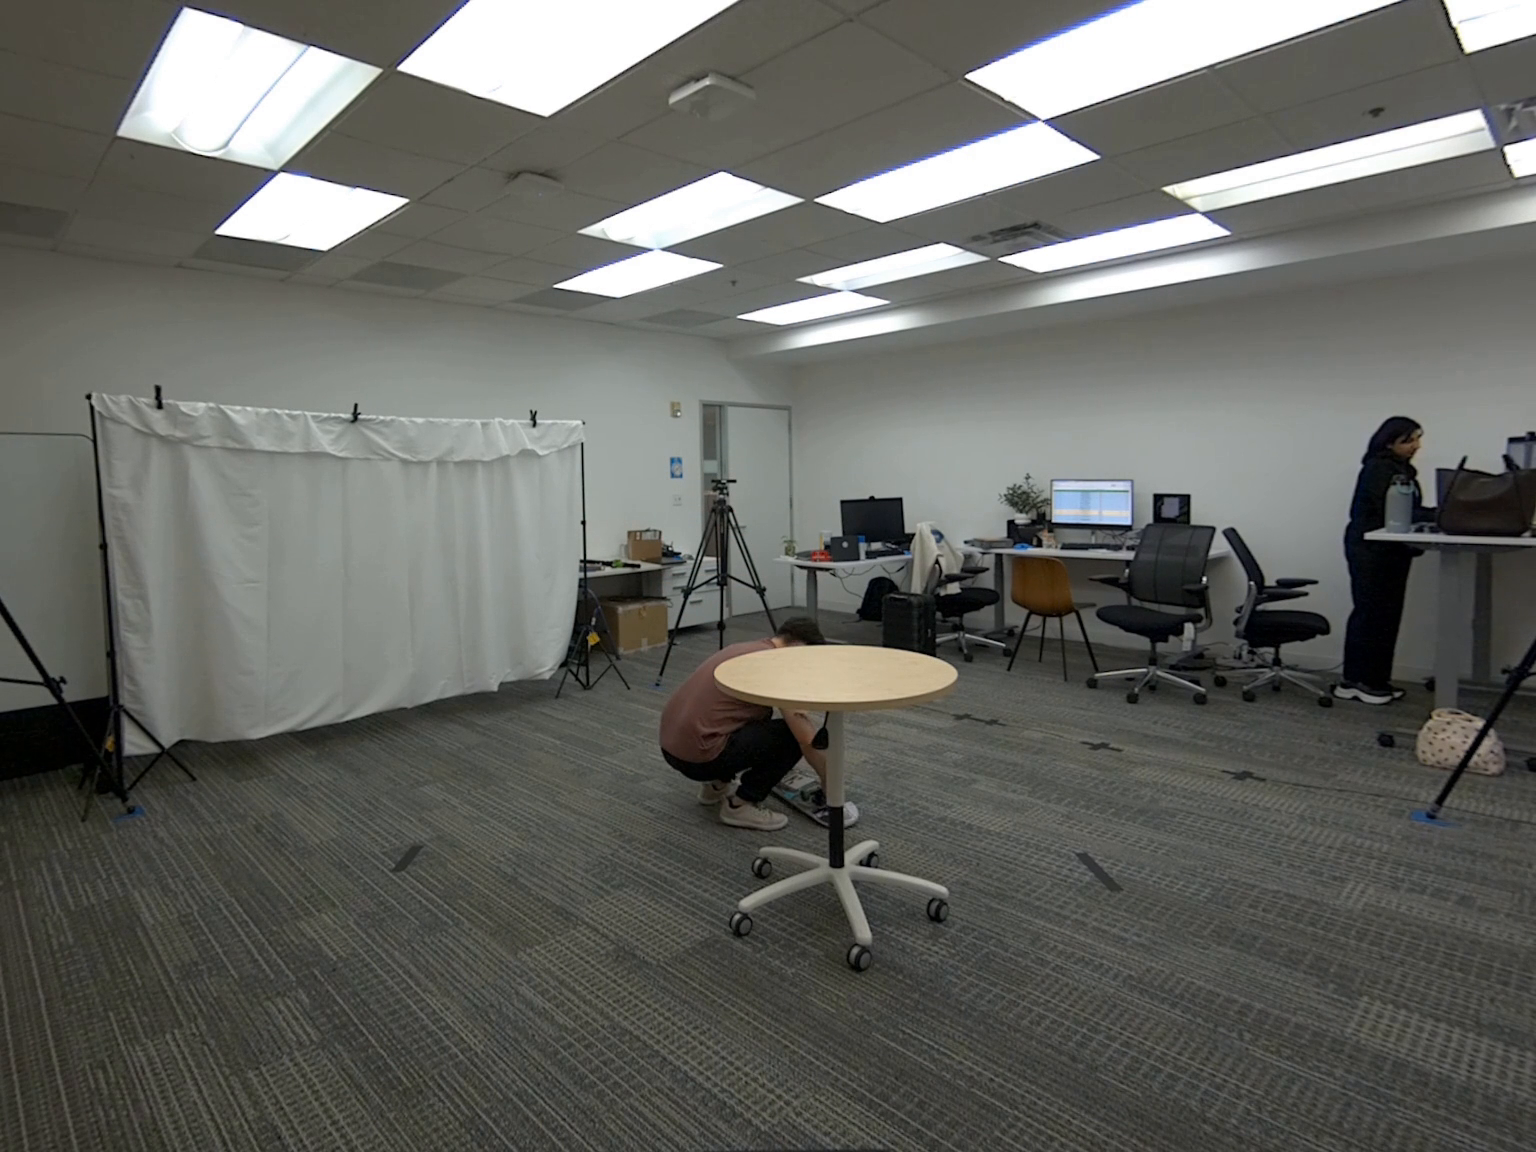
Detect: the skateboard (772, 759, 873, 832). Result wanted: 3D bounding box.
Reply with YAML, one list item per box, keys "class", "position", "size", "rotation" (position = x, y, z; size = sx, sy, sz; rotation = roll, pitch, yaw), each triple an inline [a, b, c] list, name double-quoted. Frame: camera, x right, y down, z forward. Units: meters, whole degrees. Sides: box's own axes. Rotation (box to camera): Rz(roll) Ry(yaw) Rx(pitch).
- class: "skateboard"
  position: [0.141, 0.891, 3.747]
  size: [0.190, 0.109, 0.806]
  rotation: [-11, 10, -26]
